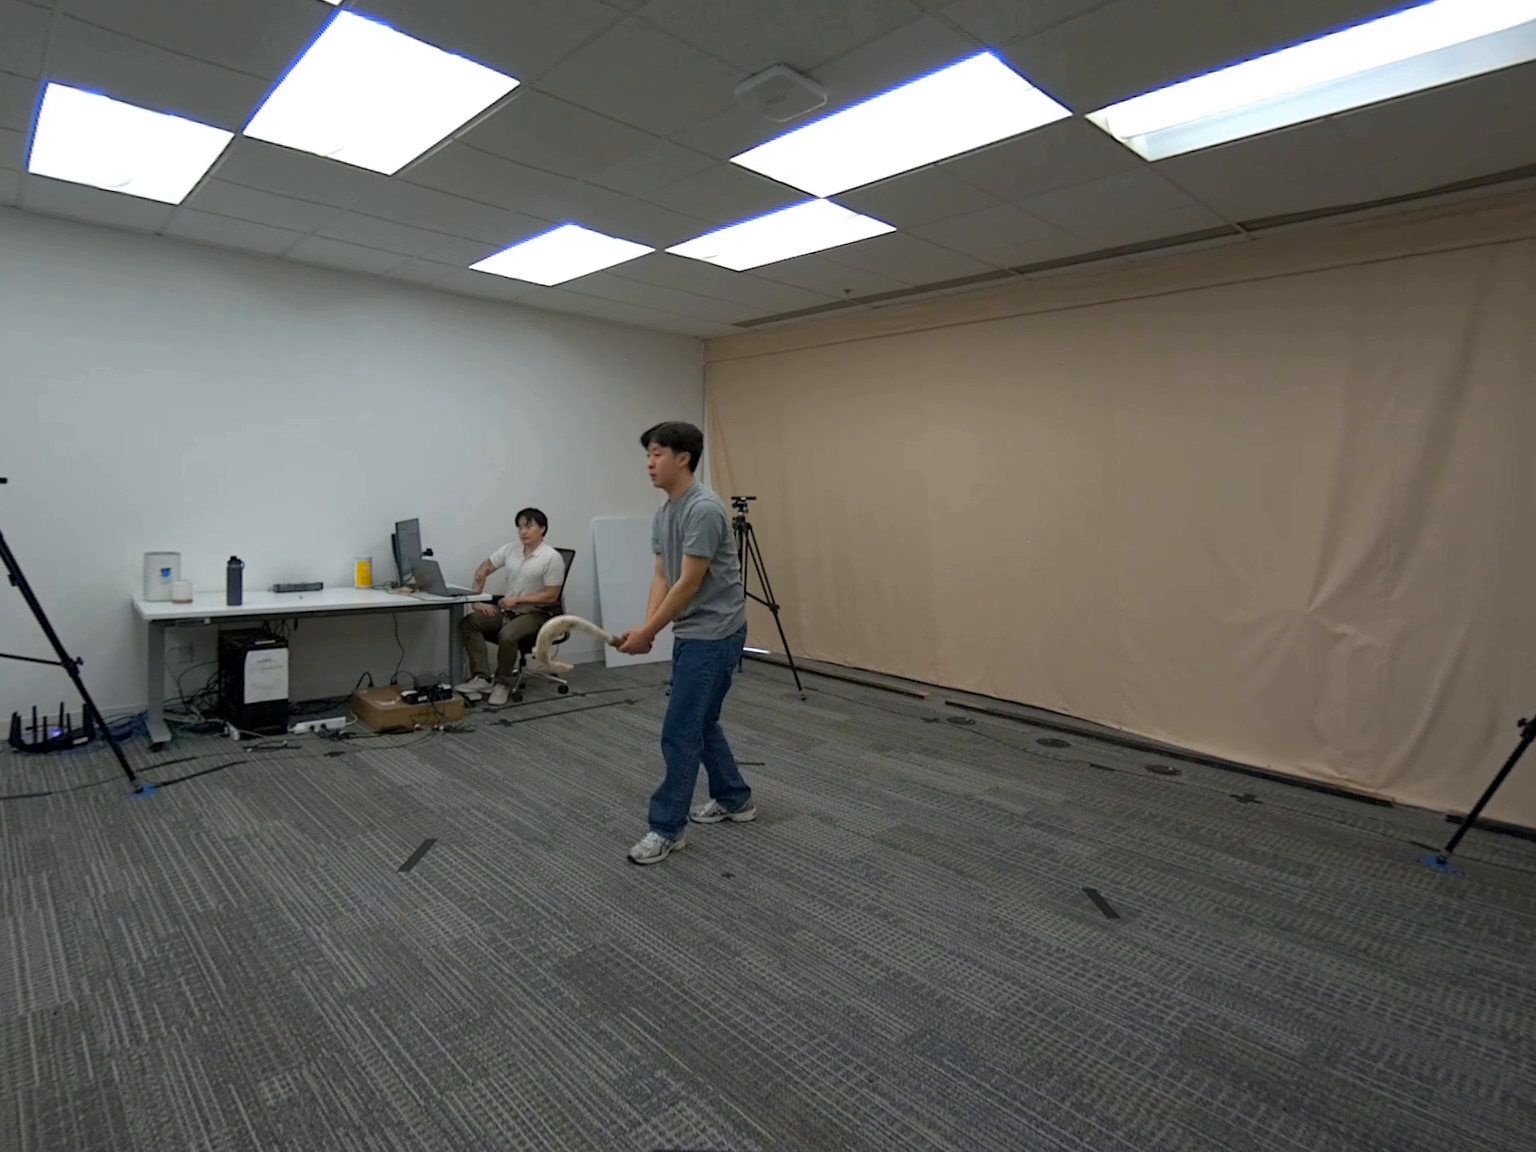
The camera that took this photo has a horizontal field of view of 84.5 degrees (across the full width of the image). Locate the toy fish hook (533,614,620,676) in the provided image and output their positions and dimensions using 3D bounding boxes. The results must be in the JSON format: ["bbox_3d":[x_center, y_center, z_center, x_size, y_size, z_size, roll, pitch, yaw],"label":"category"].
[{"bbox_3d":[-0.671,0.270,3.220,0.492,0.224,0.050,16,15,-44],"label":"toy fish hook"}]
